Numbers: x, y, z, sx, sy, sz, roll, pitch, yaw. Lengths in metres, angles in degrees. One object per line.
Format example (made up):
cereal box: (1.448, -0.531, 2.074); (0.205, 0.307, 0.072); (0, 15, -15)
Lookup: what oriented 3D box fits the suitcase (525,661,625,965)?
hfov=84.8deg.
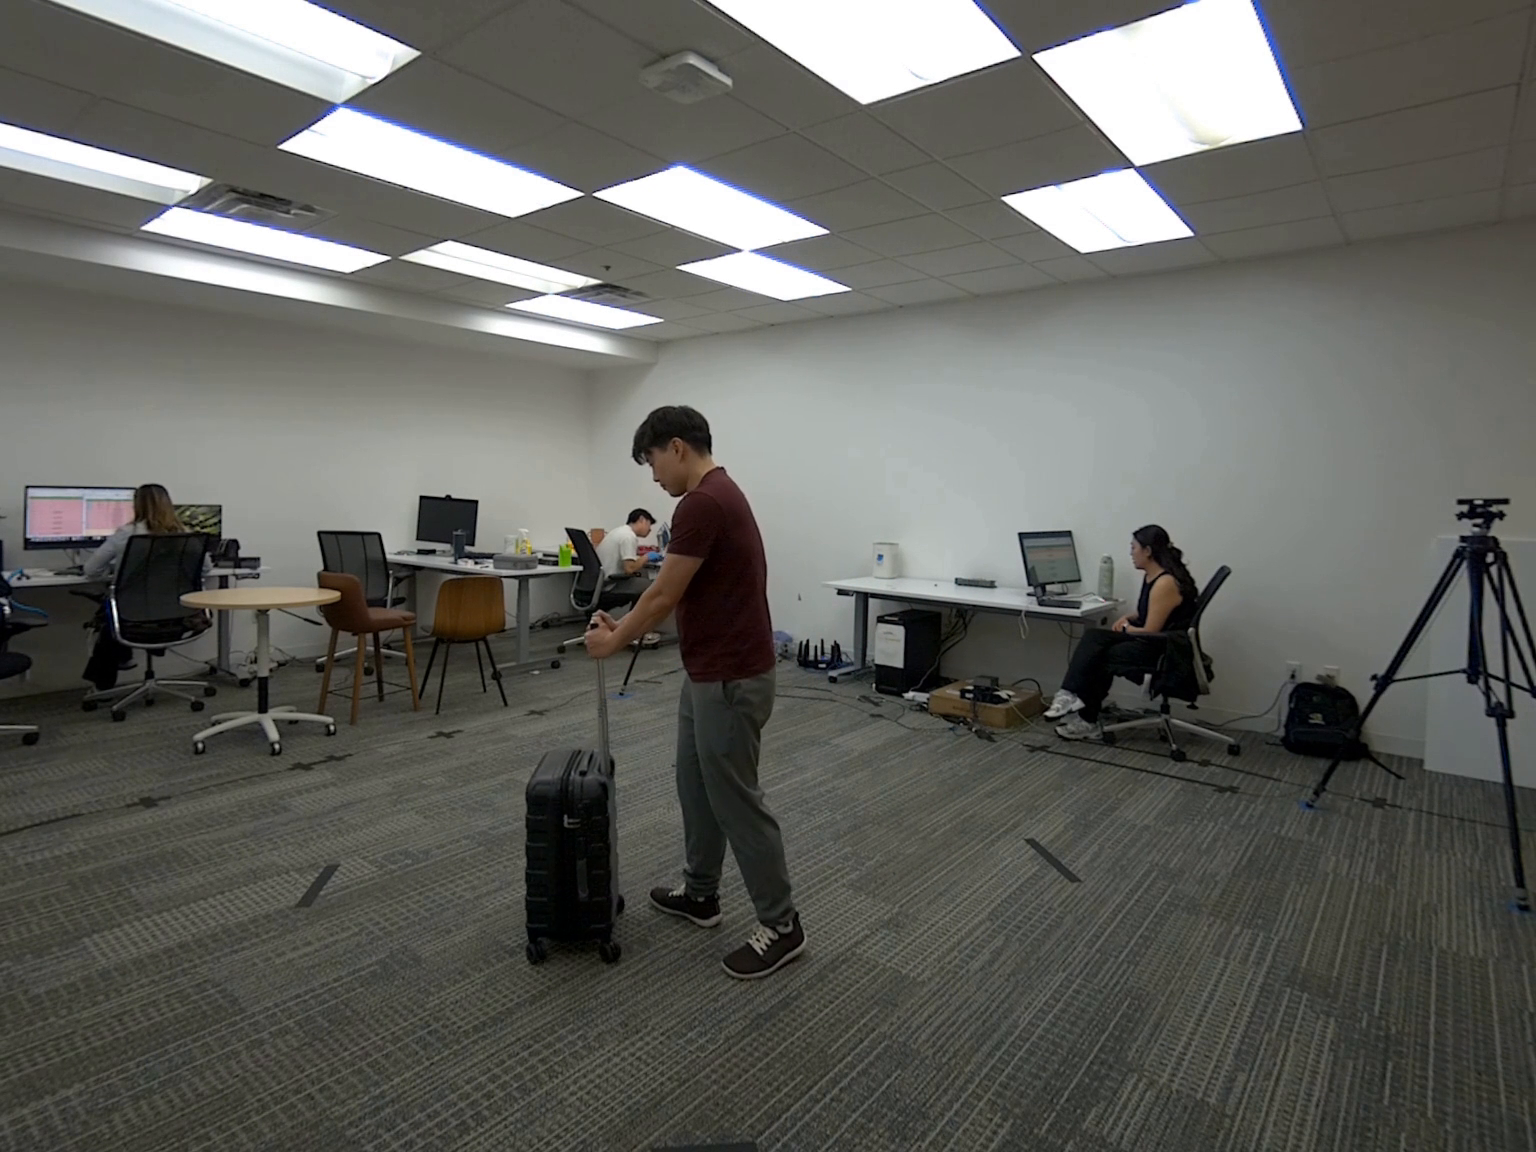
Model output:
suitcase: (-0.622, 0.638, 2.634); (0.256, 0.977, 0.386); (-4, 2, -6)
